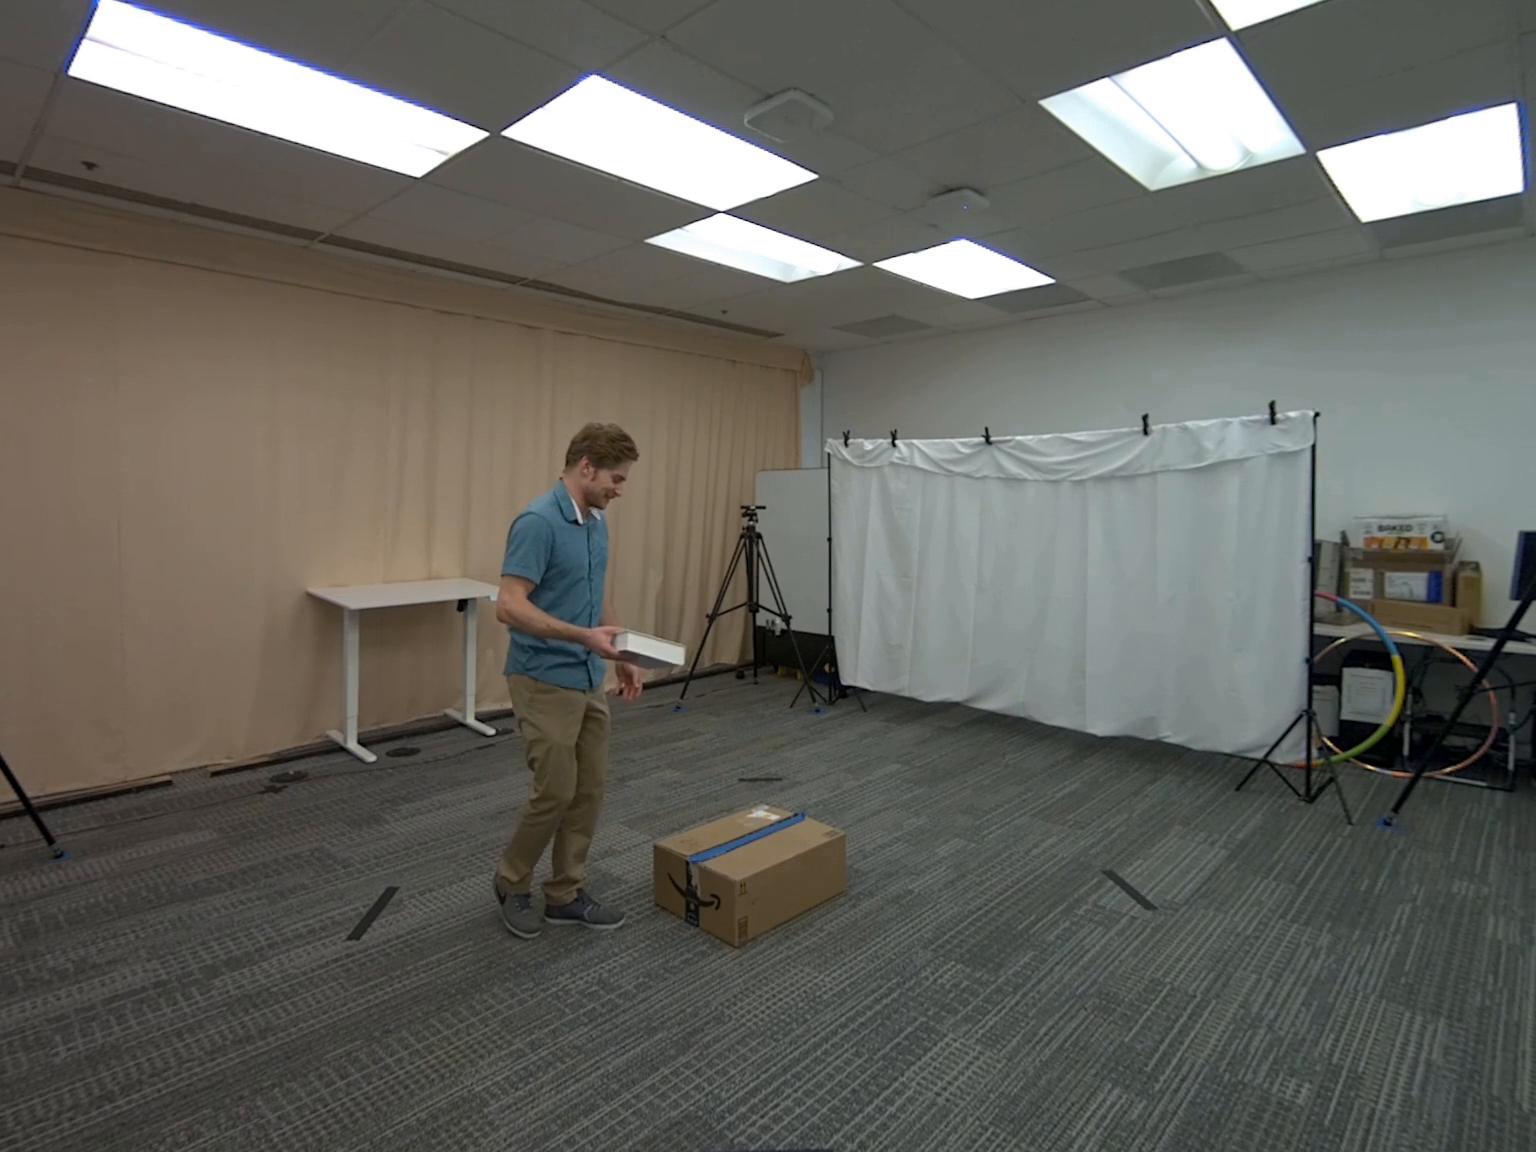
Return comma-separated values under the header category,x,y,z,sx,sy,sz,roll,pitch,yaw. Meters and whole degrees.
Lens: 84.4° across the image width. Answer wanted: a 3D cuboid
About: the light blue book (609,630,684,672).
category,x,y,z,sx,sy,sz,roll,pitch,yaw
light blue book,-0.395,0.226,2.527,0.187,0.059,0.266,19,-17,-23
